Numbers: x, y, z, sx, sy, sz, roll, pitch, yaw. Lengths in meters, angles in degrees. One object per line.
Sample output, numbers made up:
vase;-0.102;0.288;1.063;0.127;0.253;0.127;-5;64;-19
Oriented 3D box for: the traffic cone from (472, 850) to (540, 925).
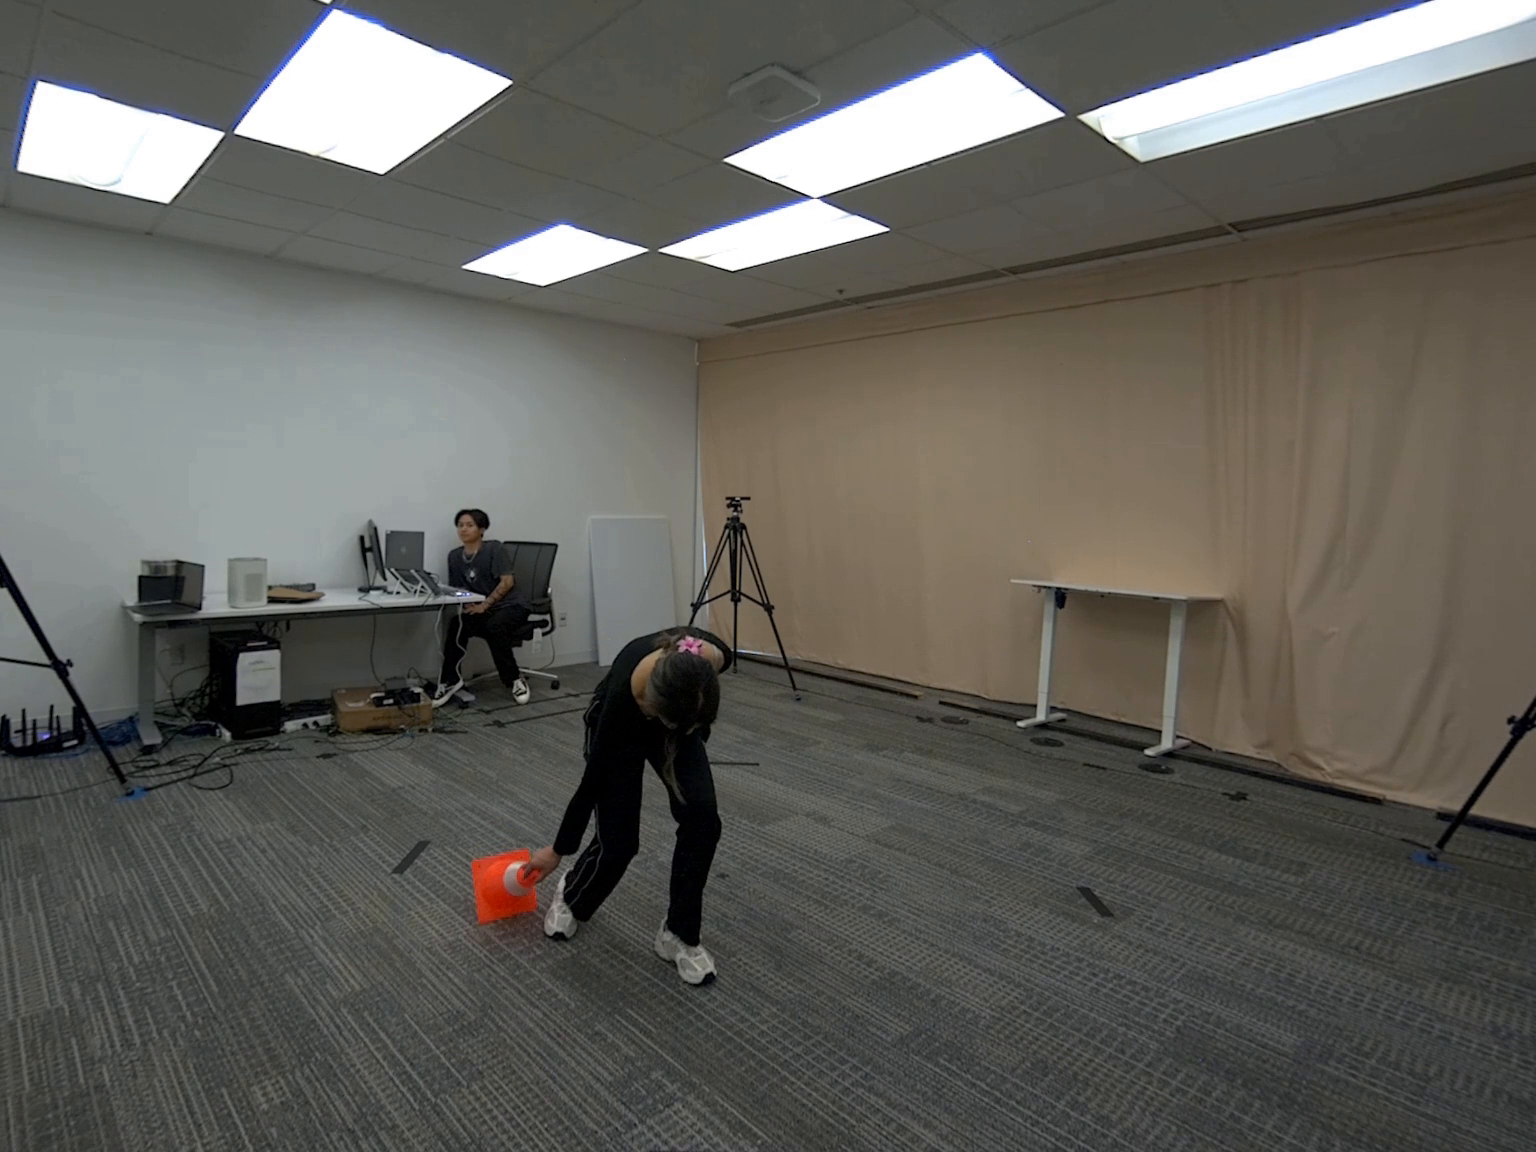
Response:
traffic cone;-0.789;0.957;2.663;0.201;0.207;0.384;0;-24;-32
